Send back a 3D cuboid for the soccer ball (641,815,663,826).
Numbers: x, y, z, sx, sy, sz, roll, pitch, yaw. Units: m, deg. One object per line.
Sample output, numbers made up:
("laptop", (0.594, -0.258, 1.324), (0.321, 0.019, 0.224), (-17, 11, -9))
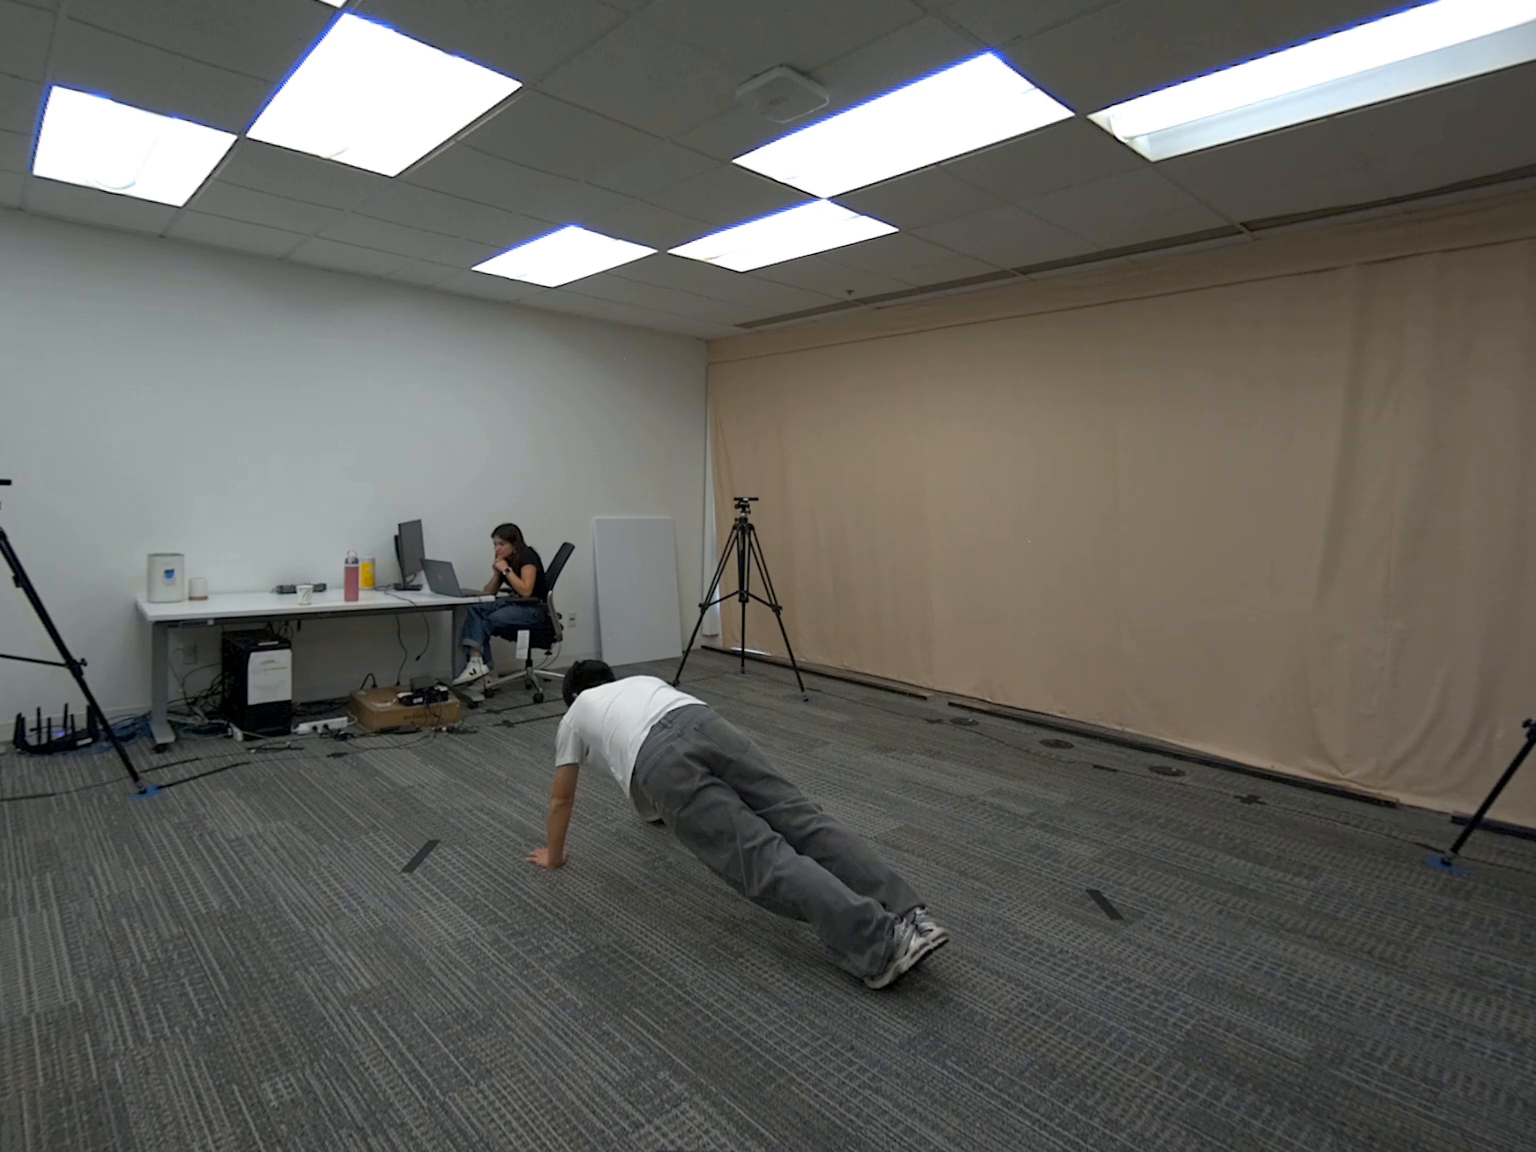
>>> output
("soccer ball", (-0.475, 0.968, 3.603), (0.187, 0.187, 0.188), (1, 4, -1))
